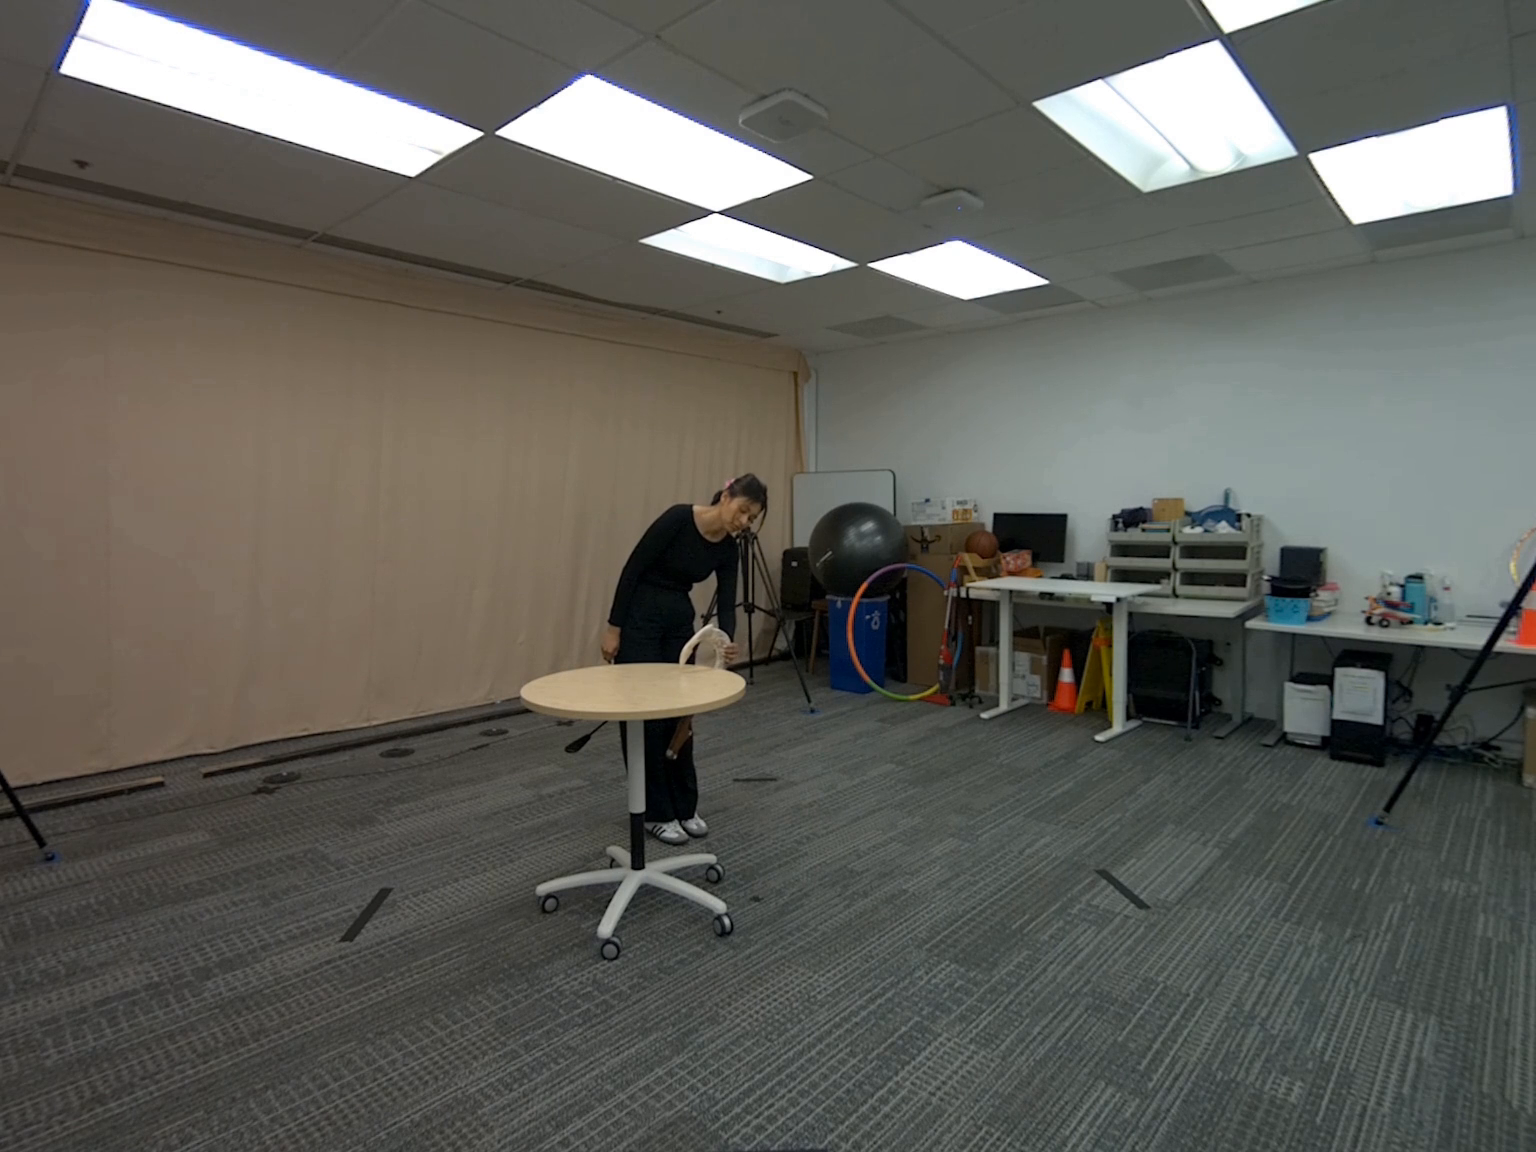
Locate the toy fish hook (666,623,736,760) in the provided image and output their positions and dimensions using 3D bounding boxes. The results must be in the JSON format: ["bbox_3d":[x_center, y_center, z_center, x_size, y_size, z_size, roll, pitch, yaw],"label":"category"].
[{"bbox_3d":[-0.287,0.426,3.122,0.217,0.507,0.050,34,-16,-32],"label":"toy fish hook"}]
